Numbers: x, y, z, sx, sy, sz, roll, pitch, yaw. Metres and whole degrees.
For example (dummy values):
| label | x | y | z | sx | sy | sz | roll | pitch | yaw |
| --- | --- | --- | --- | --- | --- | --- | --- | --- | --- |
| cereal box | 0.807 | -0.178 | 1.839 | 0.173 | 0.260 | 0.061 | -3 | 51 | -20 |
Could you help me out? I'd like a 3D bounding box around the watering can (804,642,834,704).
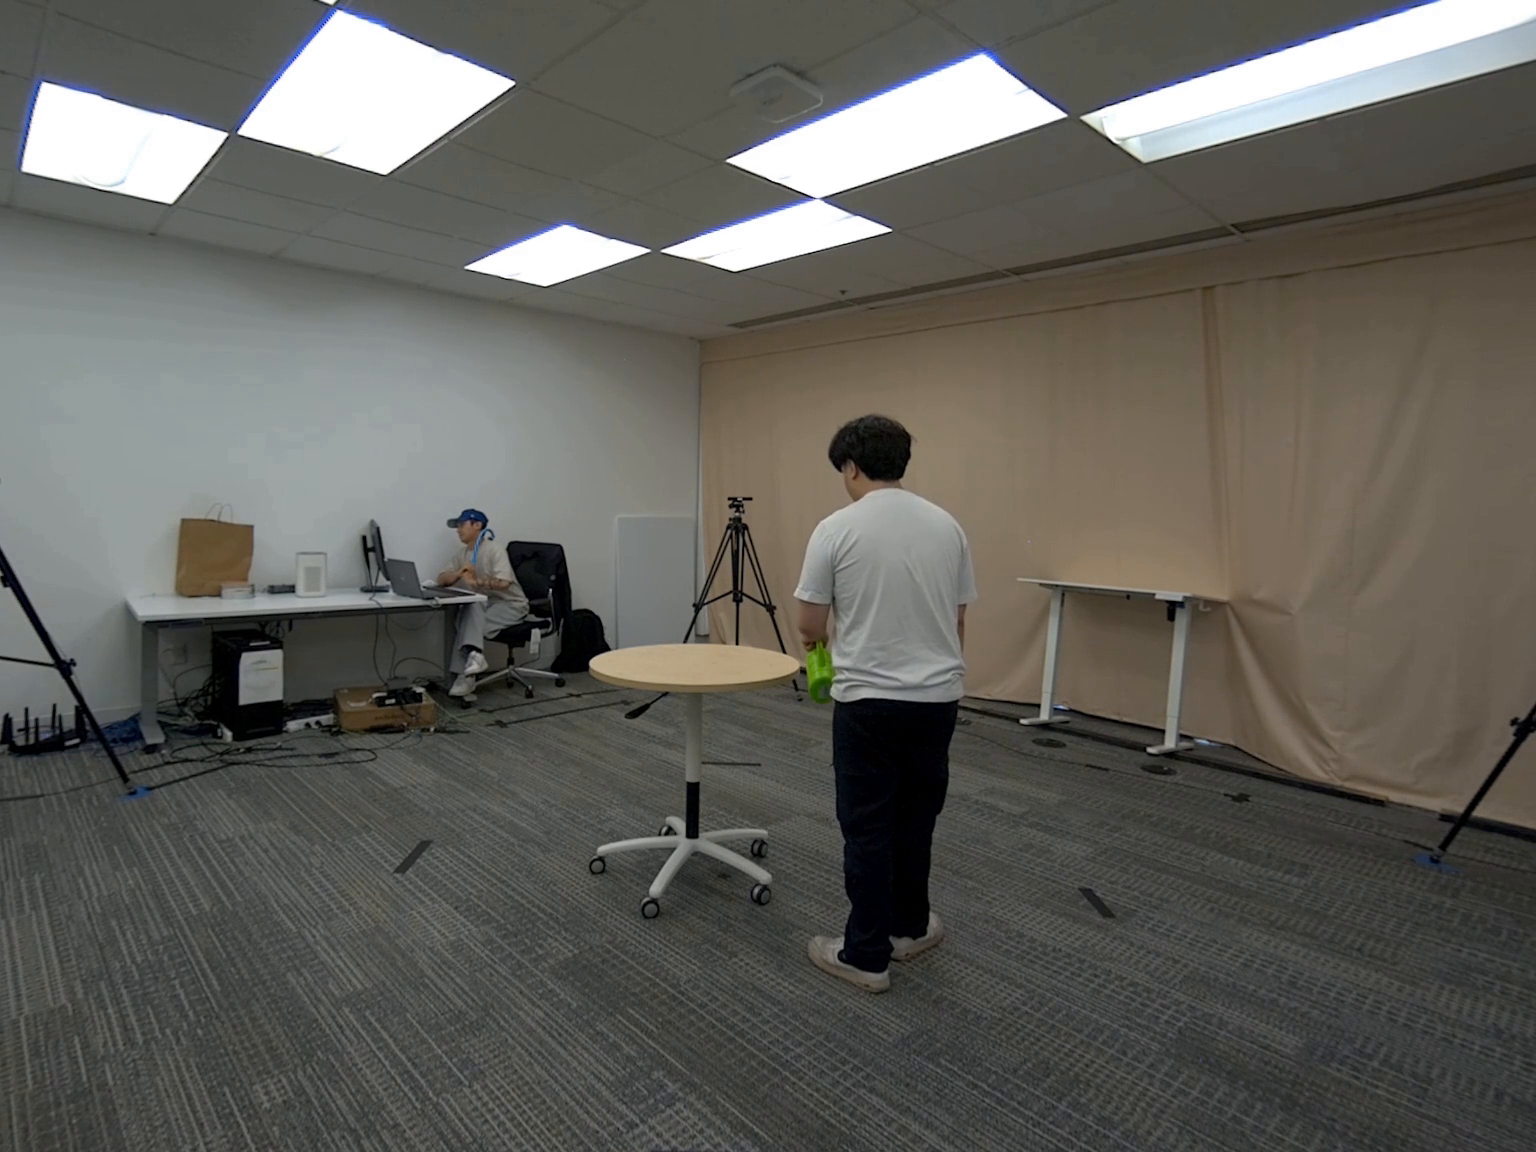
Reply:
| label | x | y | z | sx | sy | sz | roll | pitch | yaw |
| --- | --- | --- | --- | --- | --- | --- | --- | --- | --- |
| watering can | 0.171 | 0.340 | 2.773 | 0.098 | 0.270 | 0.181 | -10 | 44 | 8 |
